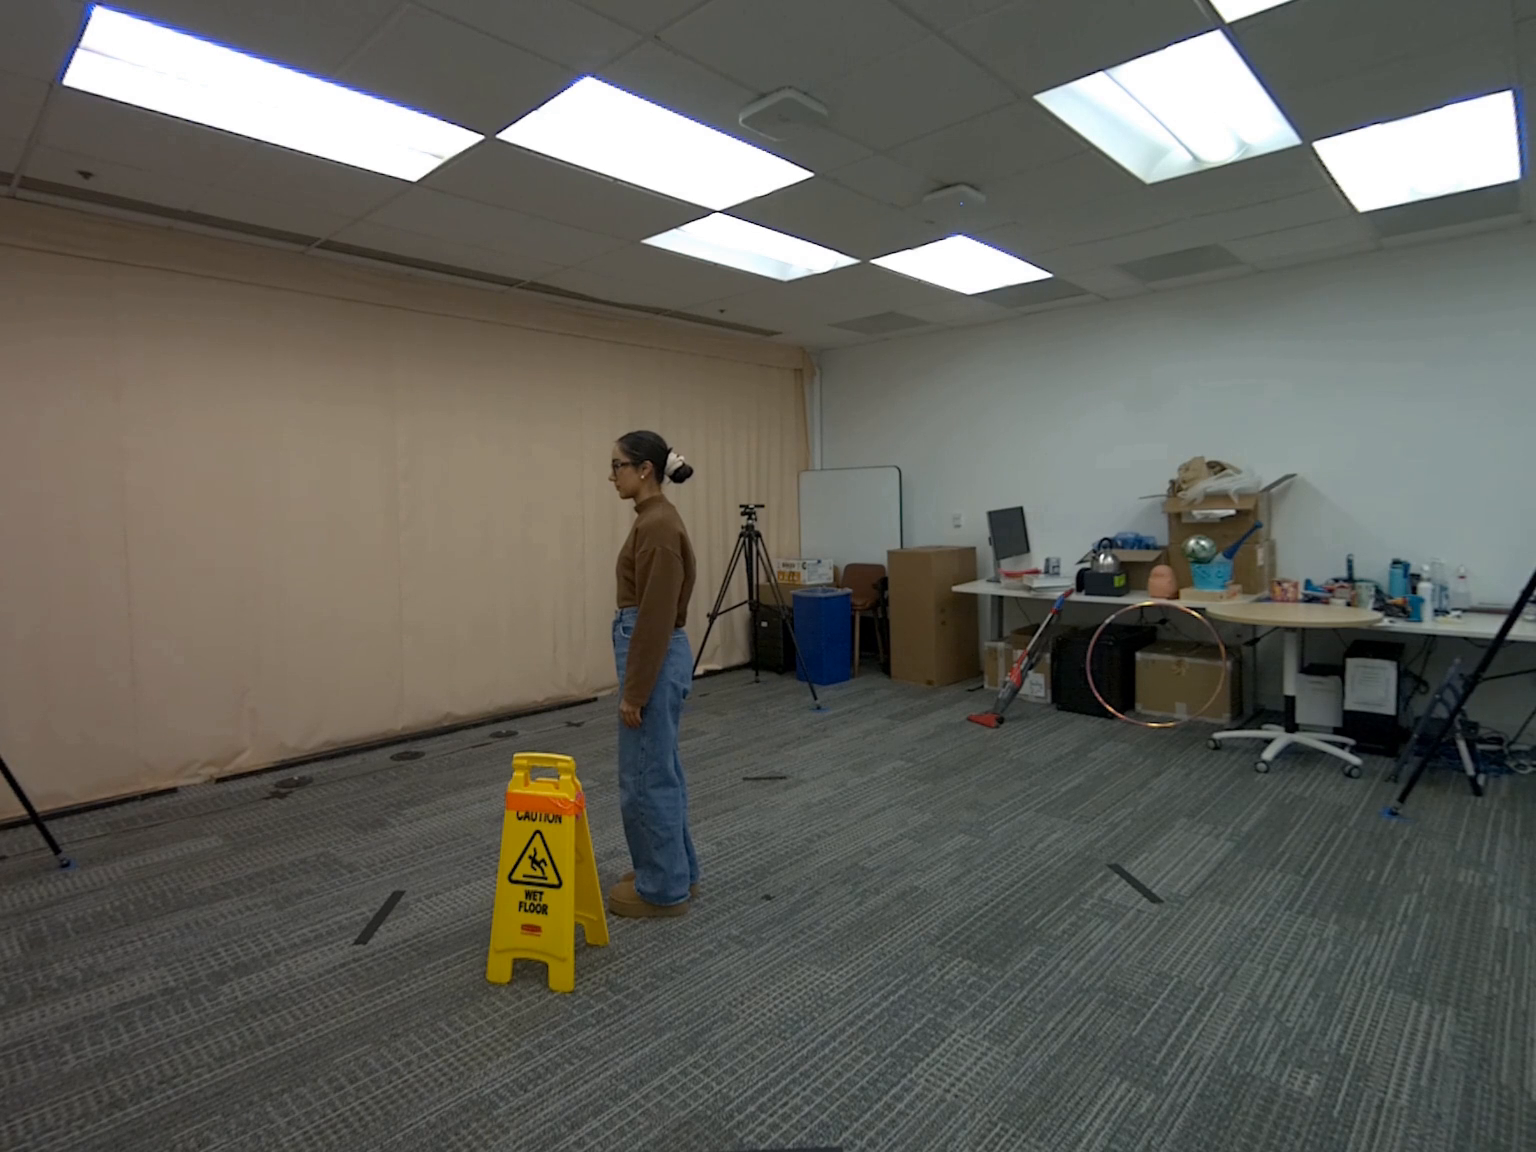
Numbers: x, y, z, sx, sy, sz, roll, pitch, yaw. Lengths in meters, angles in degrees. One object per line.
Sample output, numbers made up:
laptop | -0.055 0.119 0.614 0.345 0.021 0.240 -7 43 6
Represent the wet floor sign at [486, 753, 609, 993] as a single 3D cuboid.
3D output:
wet floor sign | -0.677 0.866 2.572 0.286 0.645 0.286 -2 3 13
